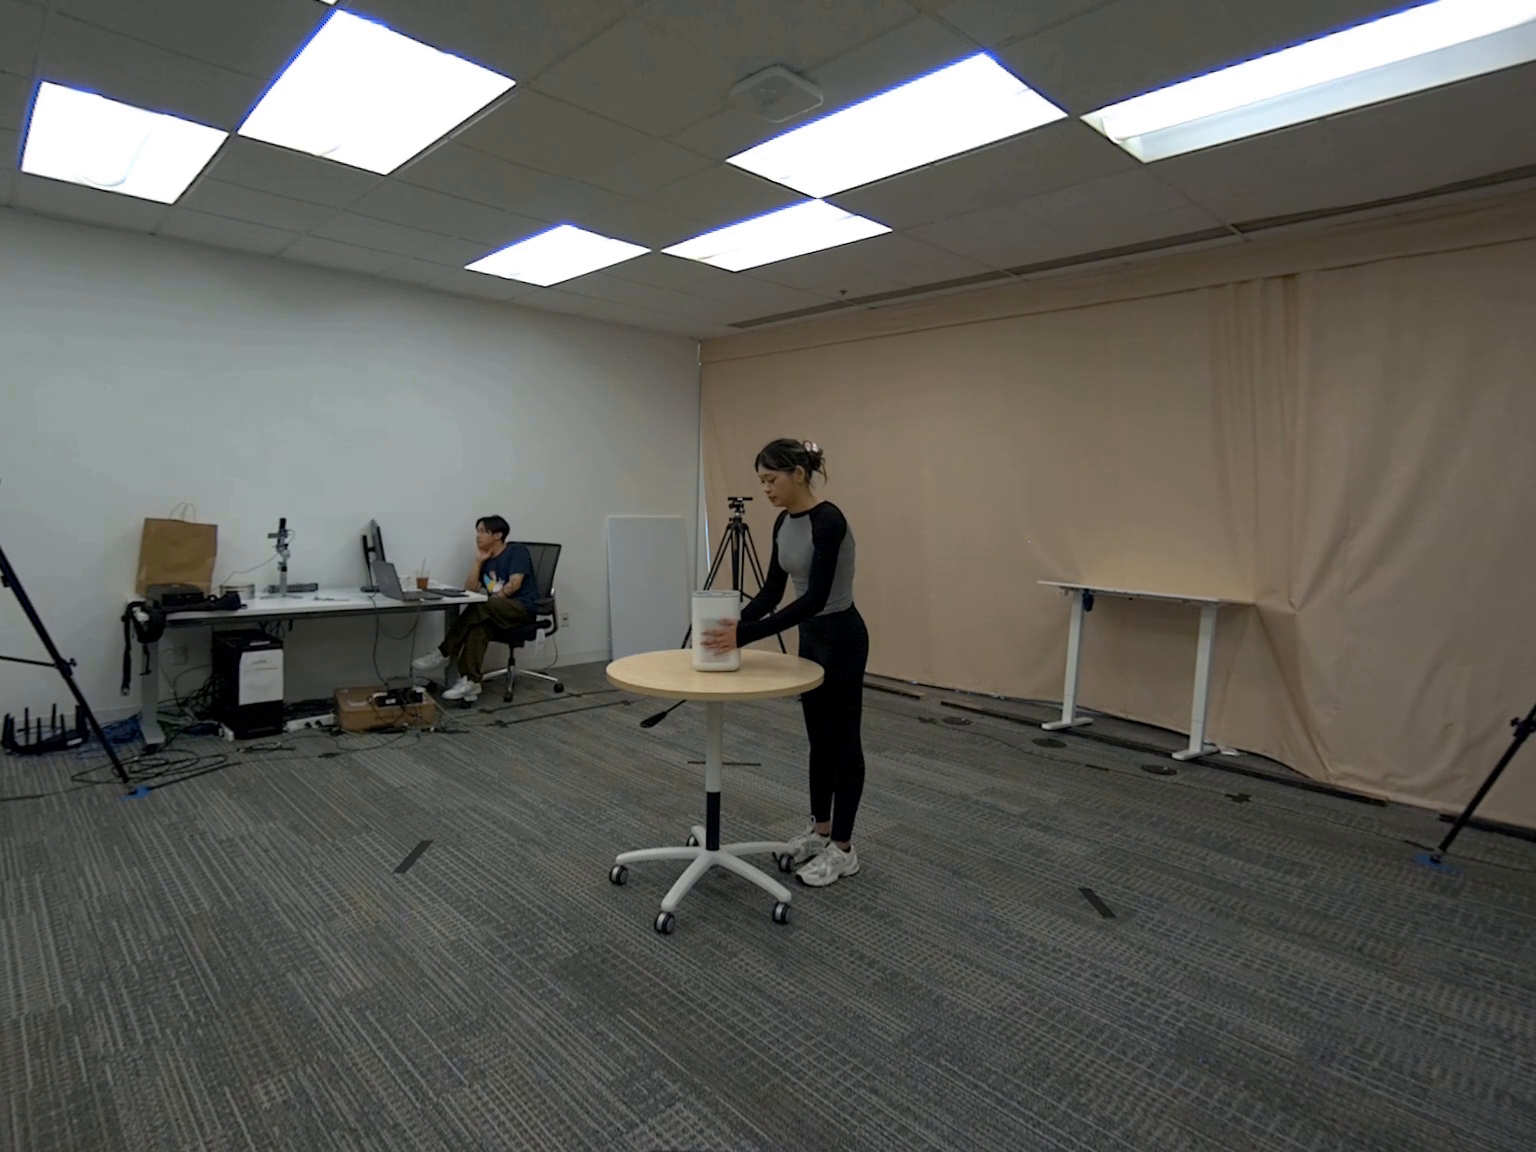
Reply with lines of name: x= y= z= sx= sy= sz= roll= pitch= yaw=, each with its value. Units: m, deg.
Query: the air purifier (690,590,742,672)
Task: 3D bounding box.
air purifier: x=-0.188 y=0.193 z=2.950 sx=0.172 sy=0.264 sz=0.171 roll=0 pitch=6 yaw=0
